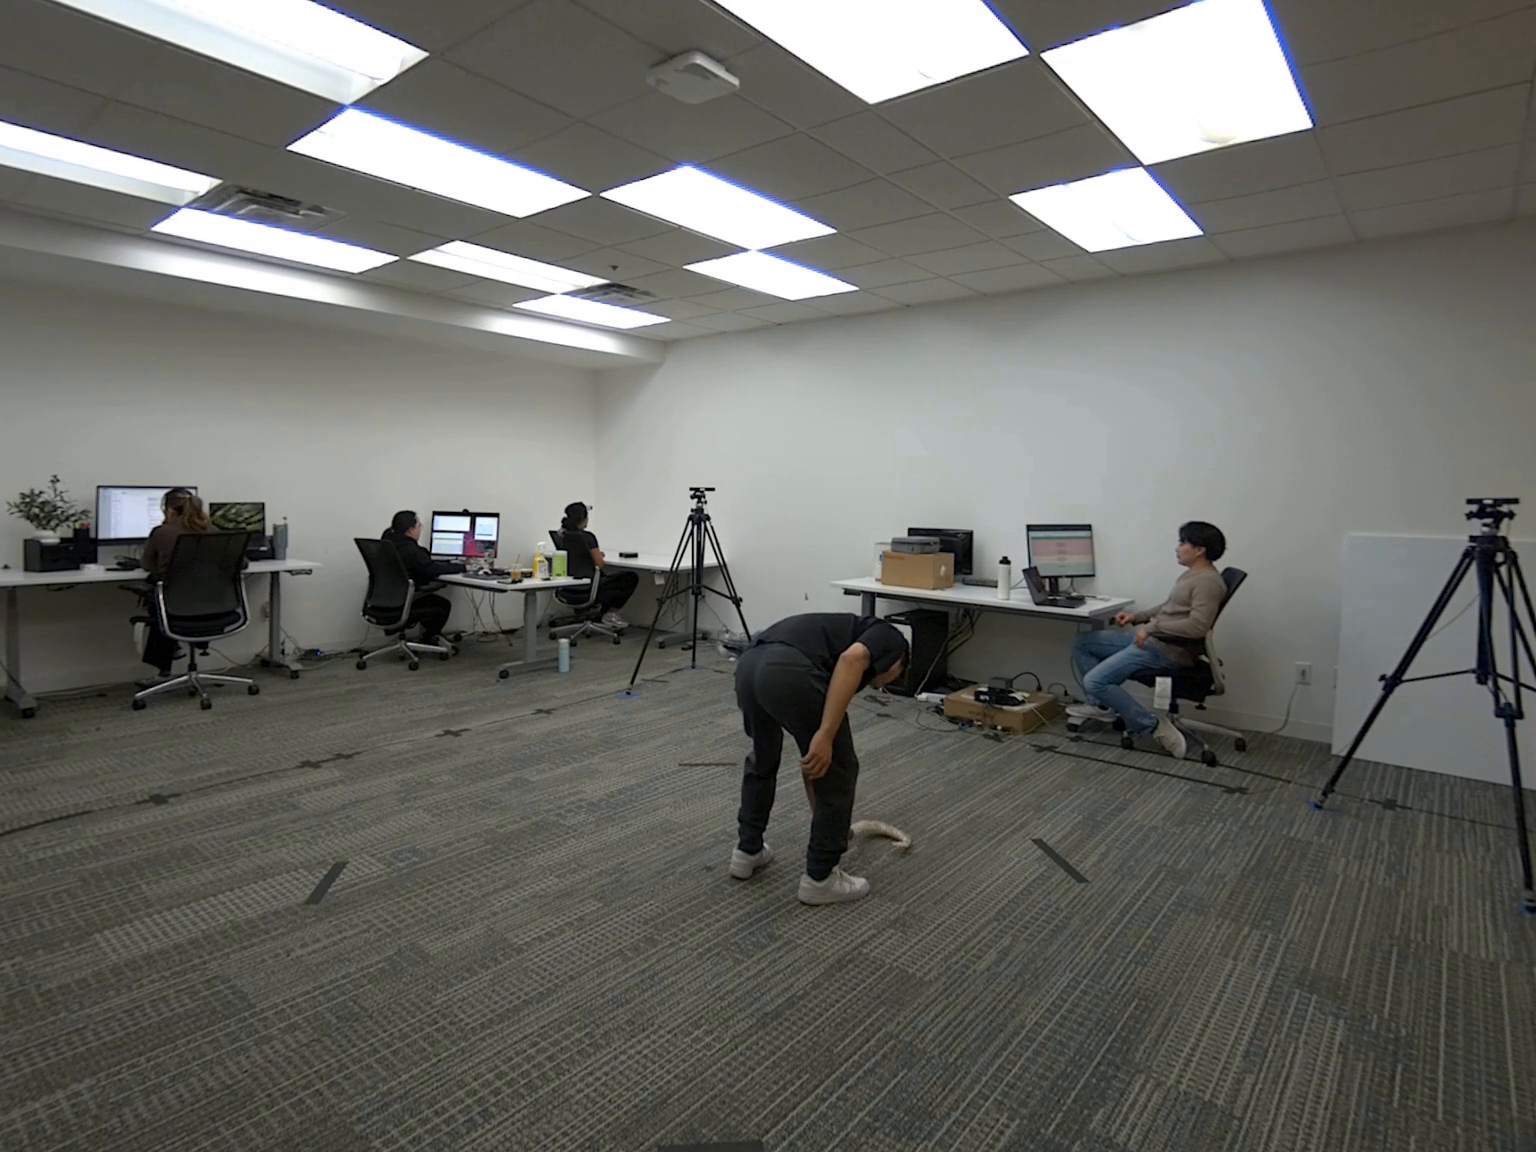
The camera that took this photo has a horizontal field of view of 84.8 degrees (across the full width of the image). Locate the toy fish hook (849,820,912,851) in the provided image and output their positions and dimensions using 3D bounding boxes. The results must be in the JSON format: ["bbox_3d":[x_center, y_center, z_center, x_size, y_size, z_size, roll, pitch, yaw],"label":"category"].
[{"bbox_3d":[0.381,1.004,3.272,0.232,0.048,0.489,7,-1,39],"label":"toy fish hook"}]
